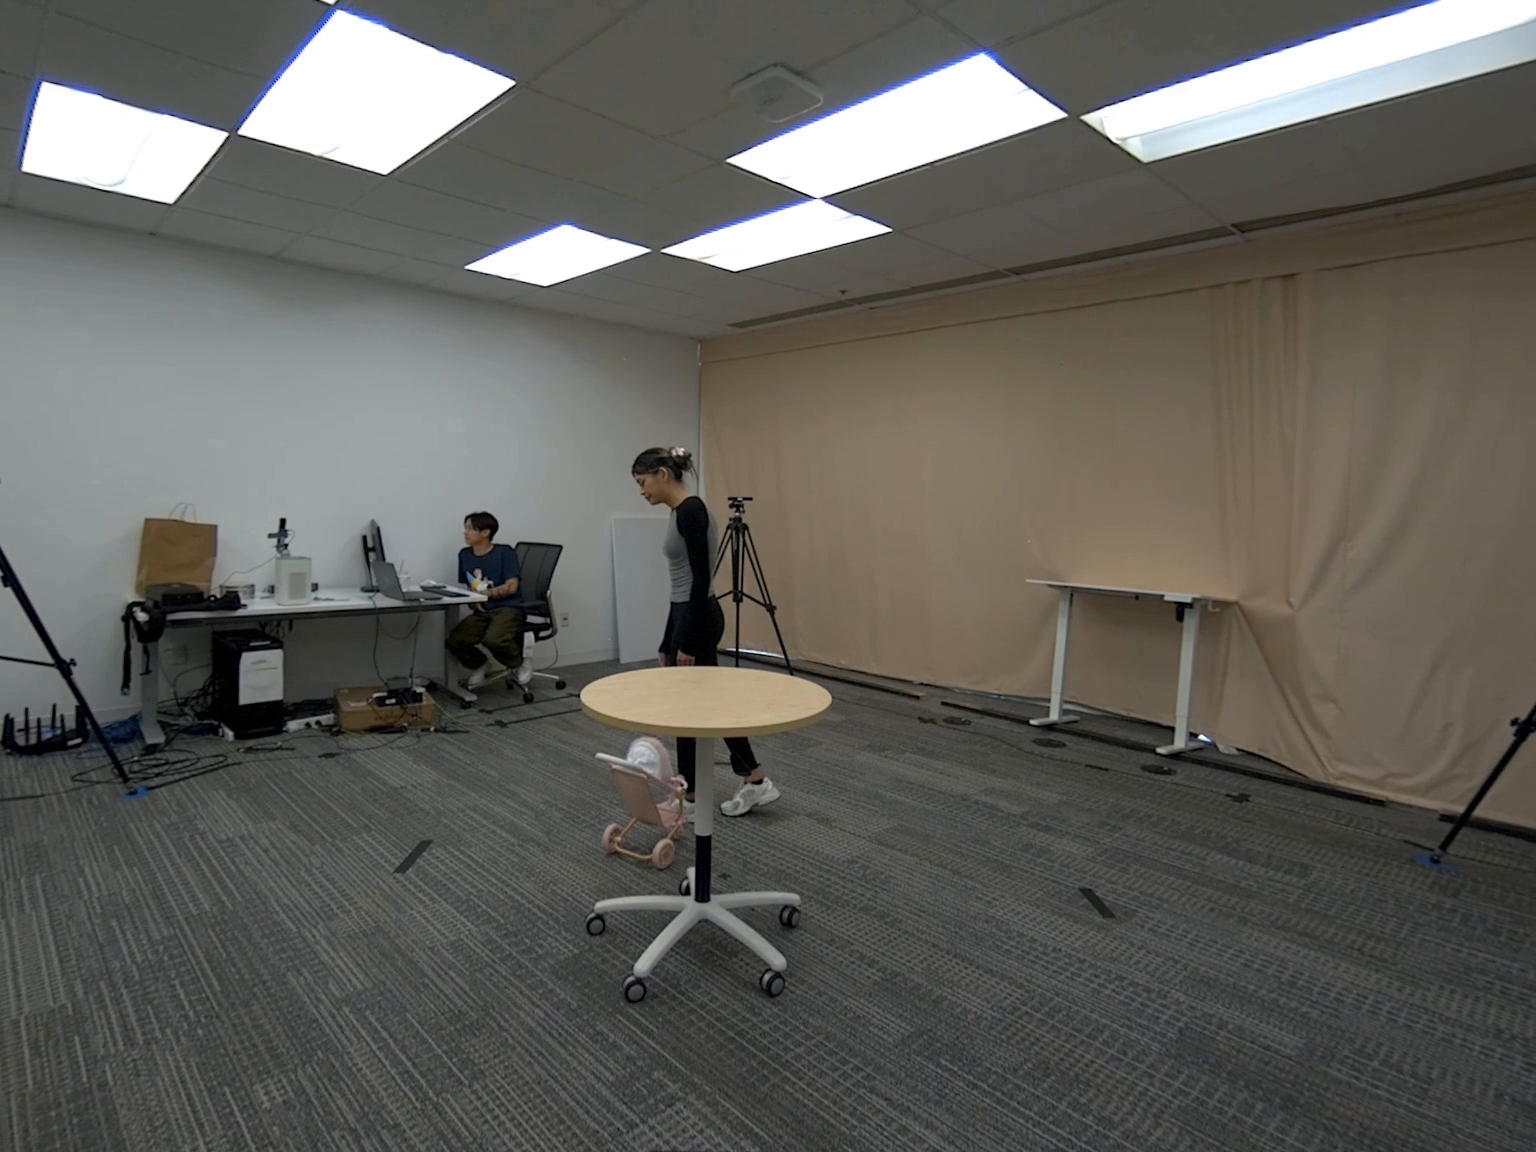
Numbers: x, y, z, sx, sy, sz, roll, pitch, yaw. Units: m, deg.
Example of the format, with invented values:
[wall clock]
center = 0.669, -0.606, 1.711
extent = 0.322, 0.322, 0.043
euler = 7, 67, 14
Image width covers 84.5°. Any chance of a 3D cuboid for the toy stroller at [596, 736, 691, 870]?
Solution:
[toy stroller]
center = -0.465, 0.856, 3.270
extent = 0.288, 0.528, 0.337
euler = 5, 20, 35
